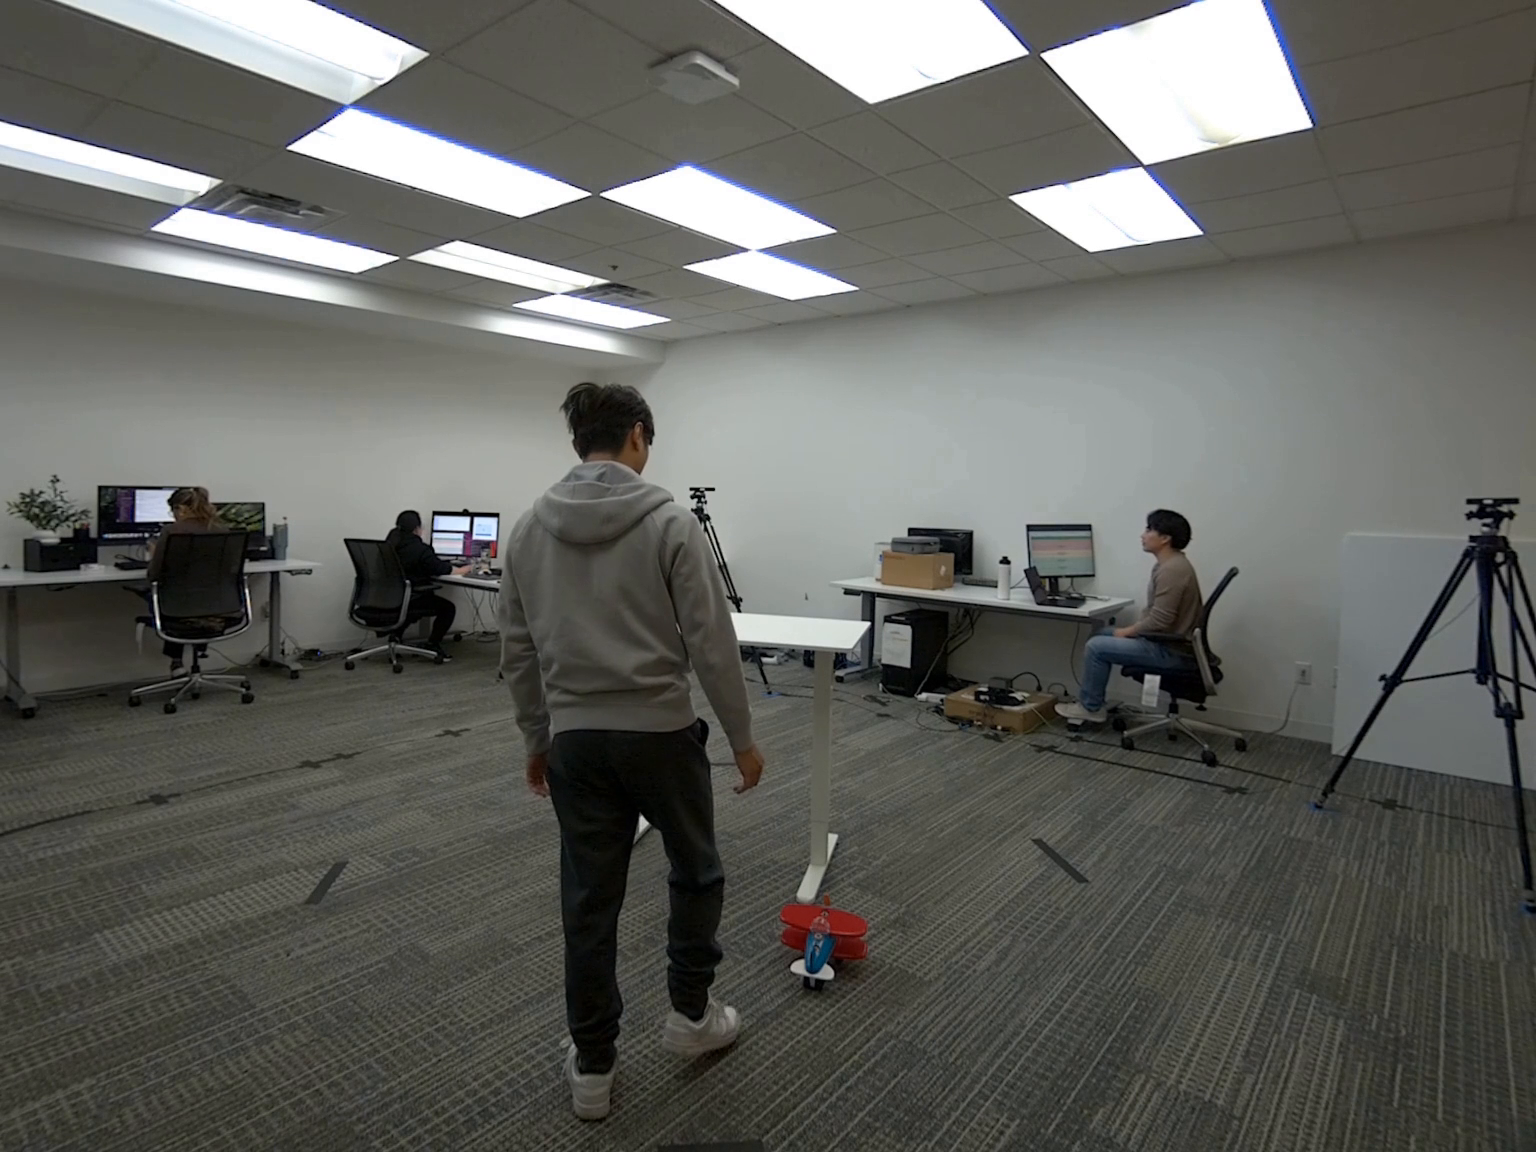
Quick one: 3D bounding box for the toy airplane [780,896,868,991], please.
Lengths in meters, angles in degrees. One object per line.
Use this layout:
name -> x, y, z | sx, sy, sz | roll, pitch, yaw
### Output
toy airplane -> 0.160, 1.061, 2.464 | 0.248, 0.156, 0.263 | 0, 4, -11
